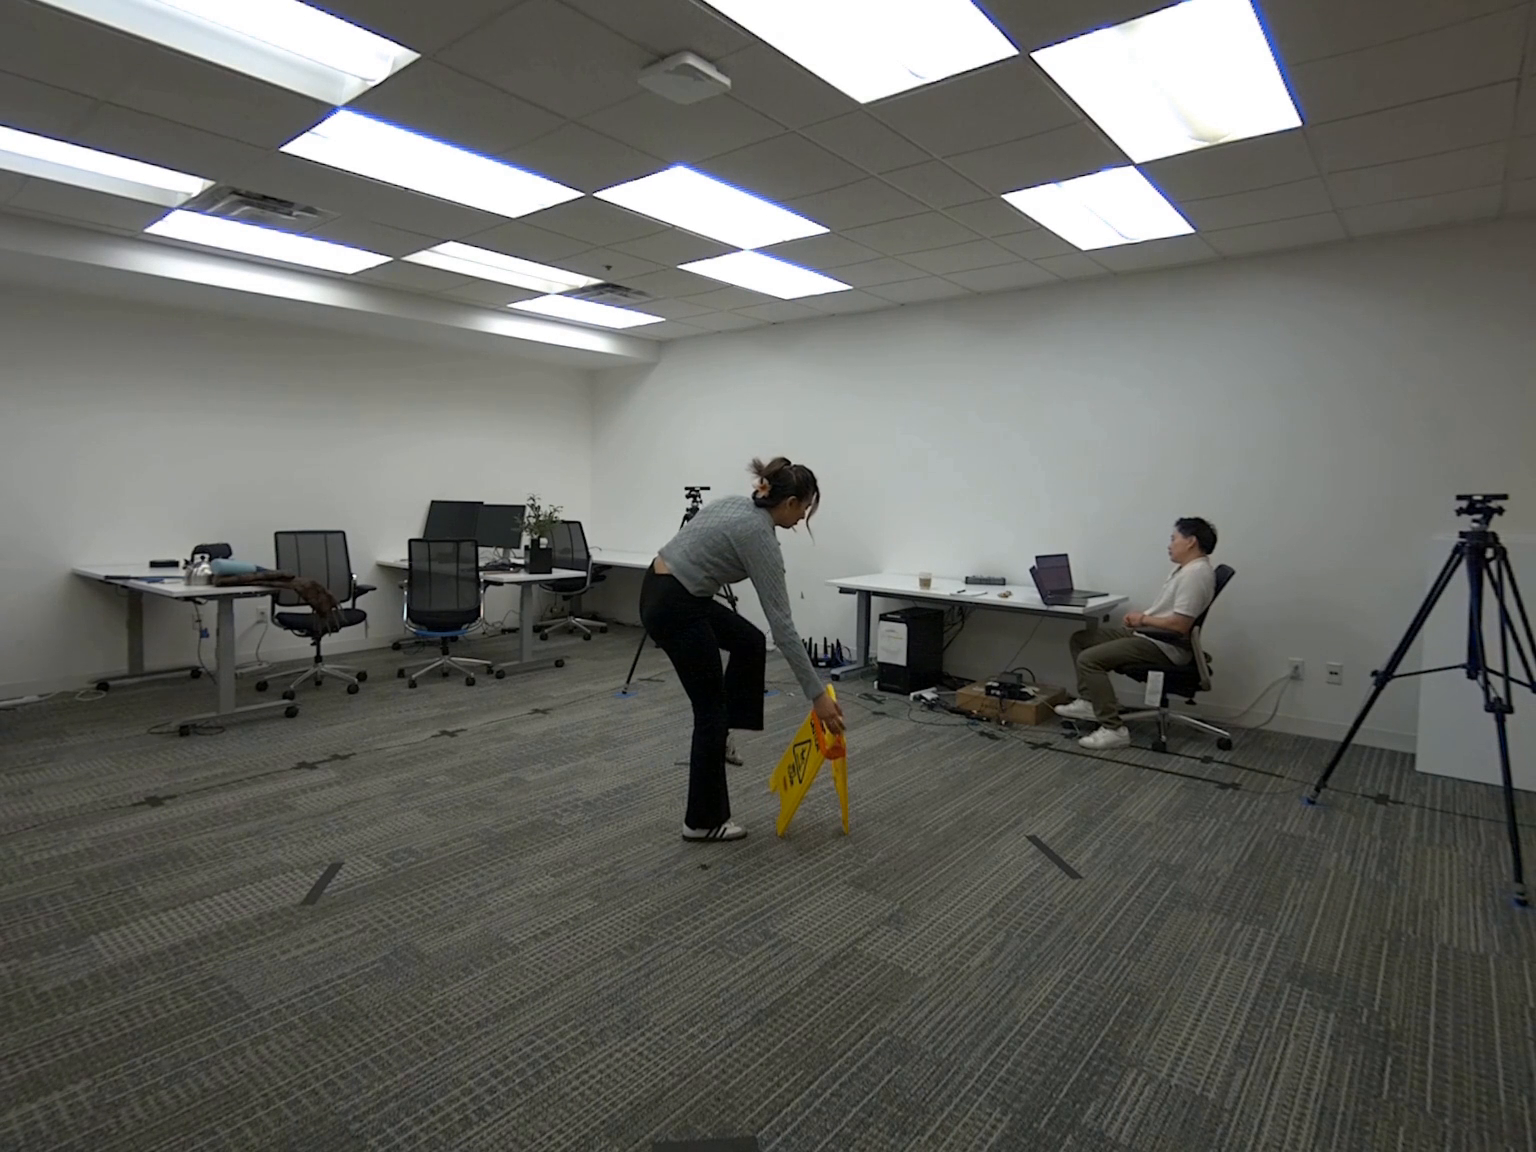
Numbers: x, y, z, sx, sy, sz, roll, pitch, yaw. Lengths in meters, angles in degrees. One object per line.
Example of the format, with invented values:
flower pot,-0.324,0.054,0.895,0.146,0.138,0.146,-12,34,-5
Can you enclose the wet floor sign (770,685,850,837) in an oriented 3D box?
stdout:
wet floor sign,0.203,0.712,3.341,0.287,0.632,0.291,3,39,-10
